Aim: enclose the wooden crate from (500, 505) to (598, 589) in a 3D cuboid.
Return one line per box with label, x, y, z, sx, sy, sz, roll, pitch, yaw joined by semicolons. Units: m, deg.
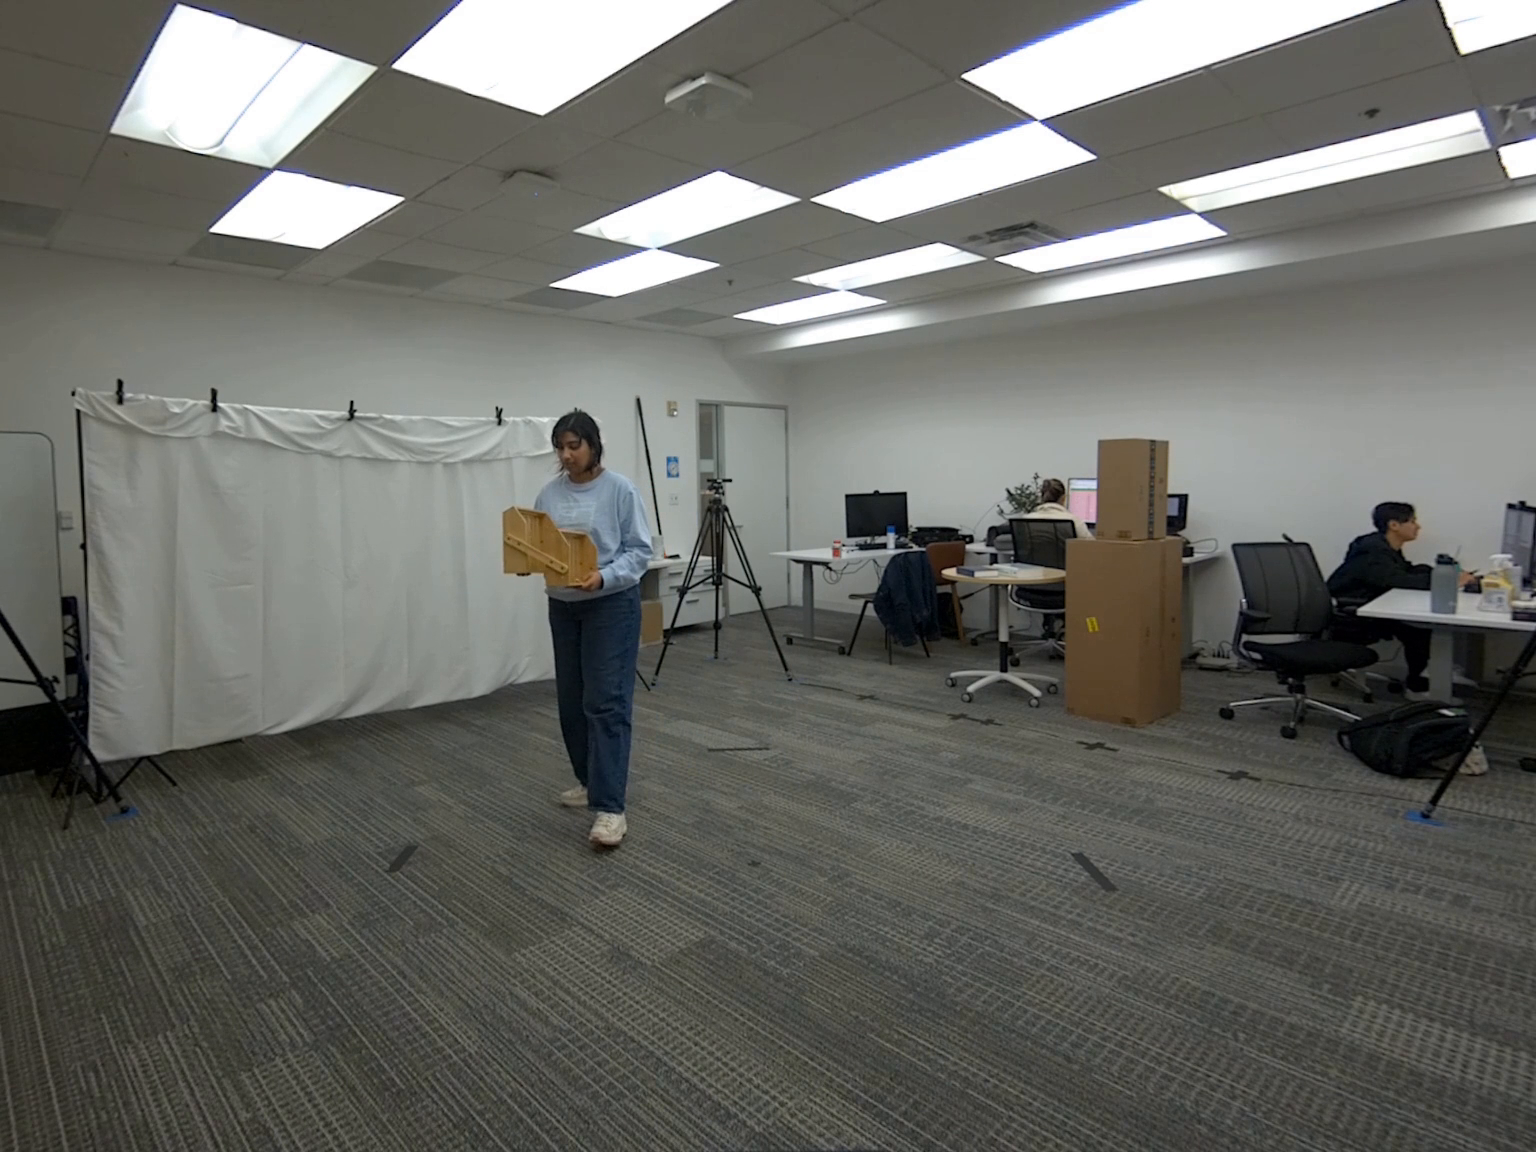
wooden crate;-0.830;-0.110;3.300;0.276;0.303;0.321;1;-1;8
